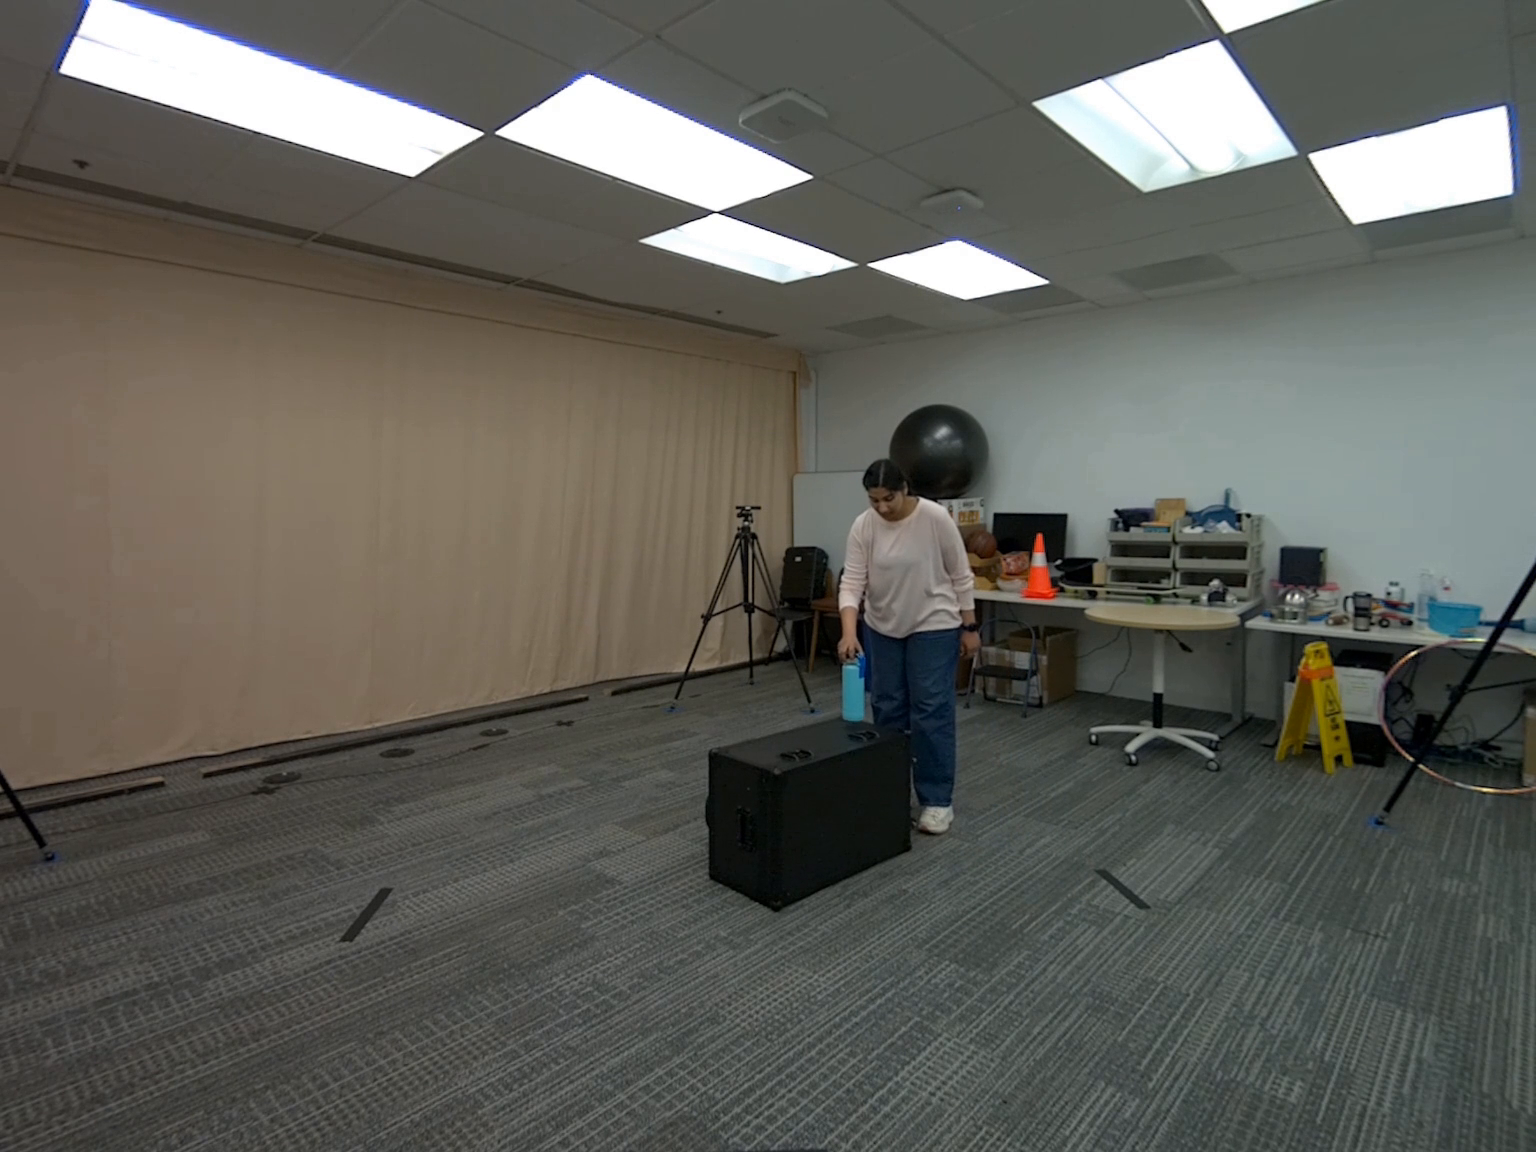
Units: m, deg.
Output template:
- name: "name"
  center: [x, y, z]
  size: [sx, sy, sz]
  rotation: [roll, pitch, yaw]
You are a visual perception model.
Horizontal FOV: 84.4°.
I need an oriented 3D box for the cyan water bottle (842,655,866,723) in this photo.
- name: "cyan water bottle"
  center: [0.363, 0.450, 3.482]
  size: [0.092, 0.283, 0.092]
  rotation: [0, 3, -2]
